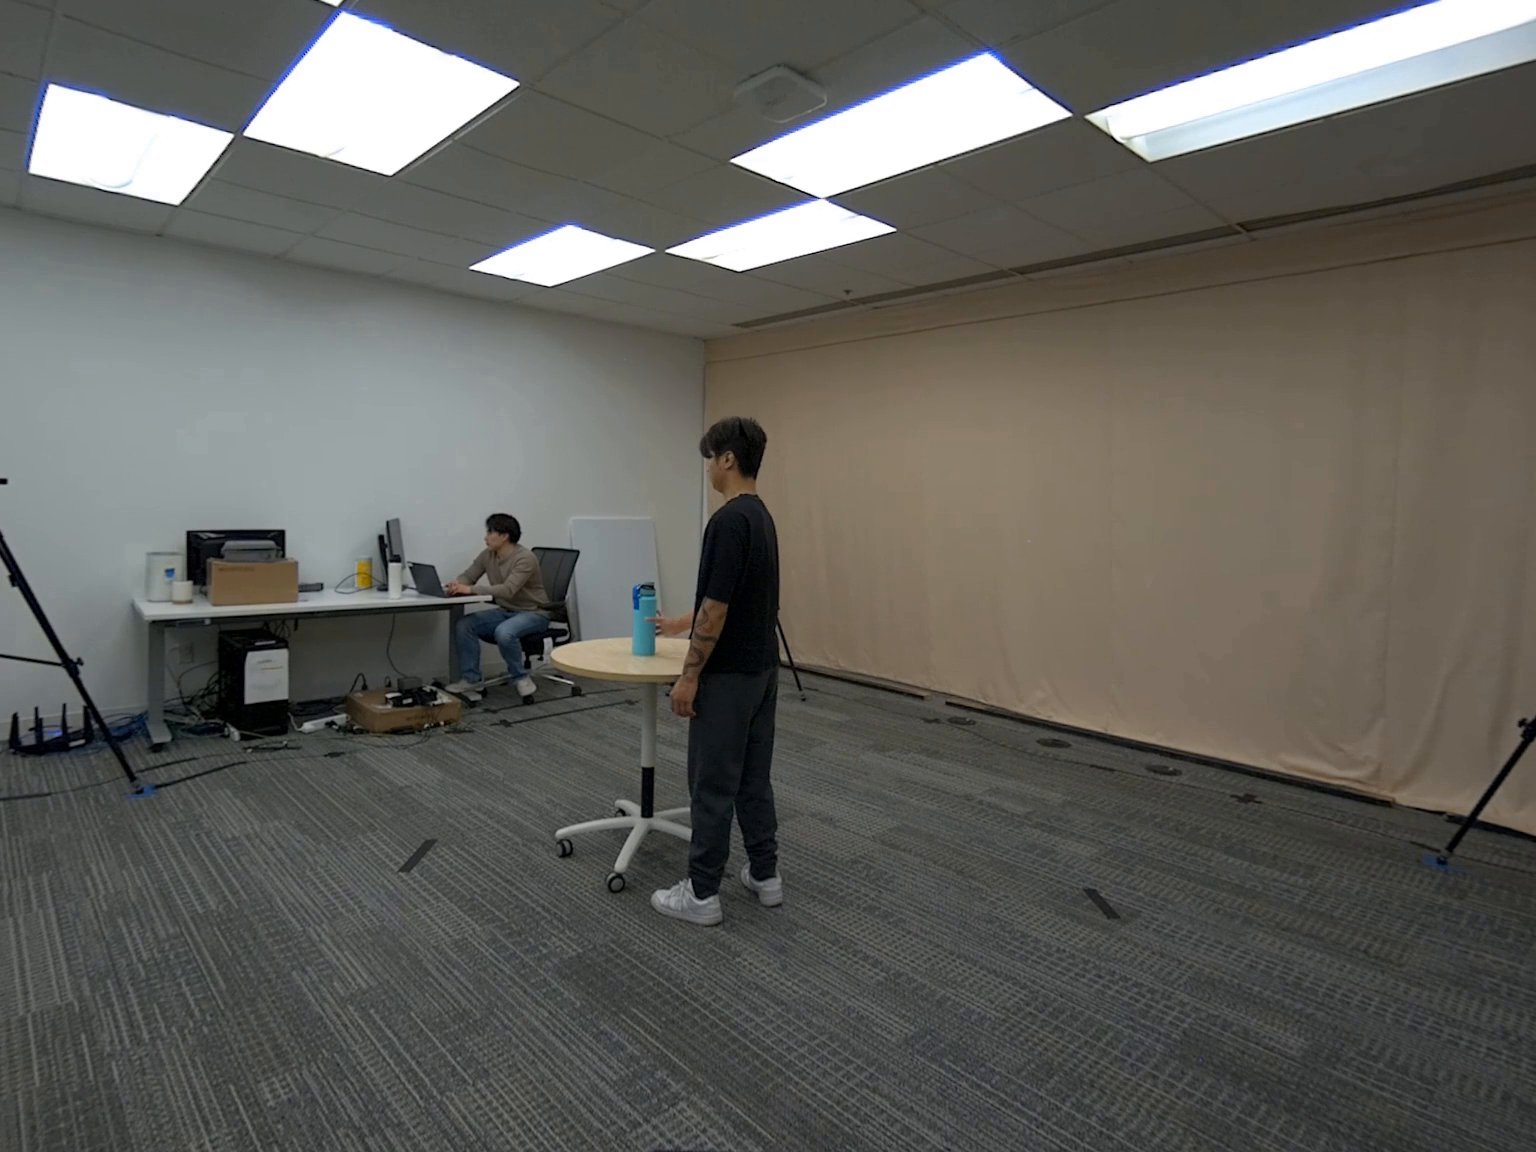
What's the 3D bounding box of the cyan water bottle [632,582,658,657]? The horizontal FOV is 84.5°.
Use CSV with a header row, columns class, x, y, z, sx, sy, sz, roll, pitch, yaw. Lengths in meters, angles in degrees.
class,x,y,z,sx,sy,sz,roll,pitch,yaw
cyan water bottle,-0.484,0.163,3.255,0.092,0.282,0.093,2,4,-2
